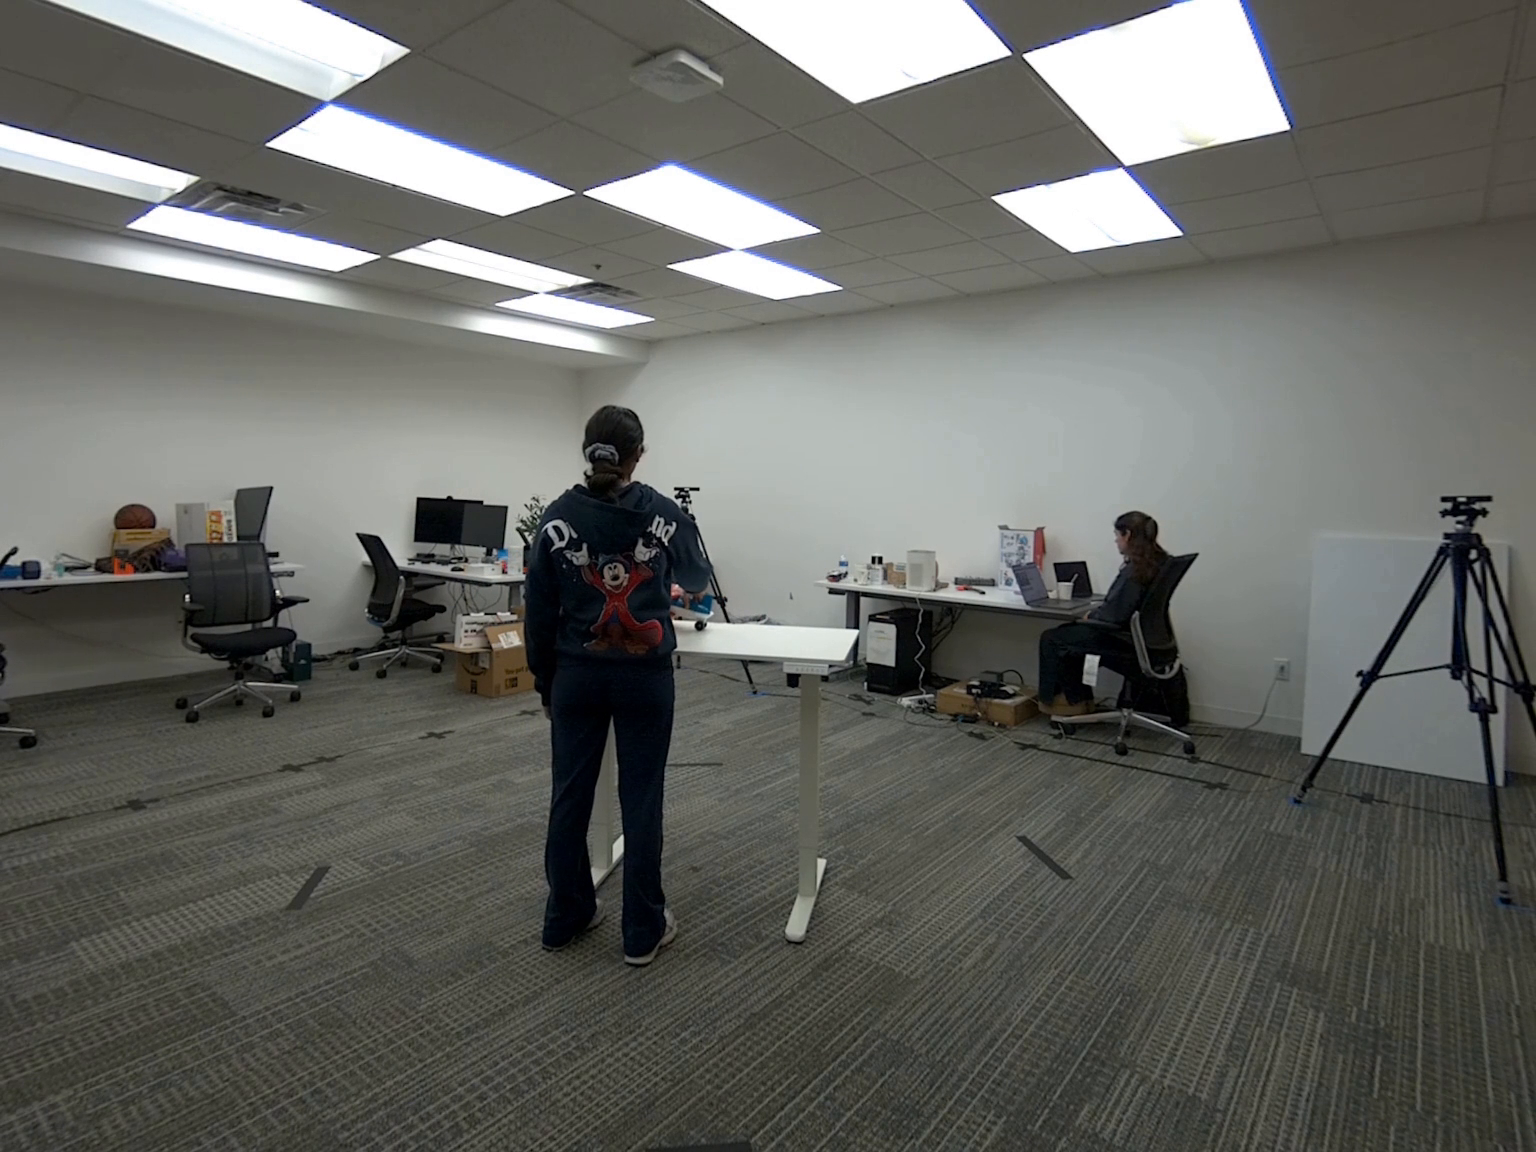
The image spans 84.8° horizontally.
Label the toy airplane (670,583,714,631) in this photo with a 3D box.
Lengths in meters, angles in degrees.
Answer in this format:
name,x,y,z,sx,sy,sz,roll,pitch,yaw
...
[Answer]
name,x,y,z,sx,sy,sz,roll,pitch,yaw
toy airplane,-0.333,0.110,3.093,0.255,0.156,0.256,-1,5,-17
